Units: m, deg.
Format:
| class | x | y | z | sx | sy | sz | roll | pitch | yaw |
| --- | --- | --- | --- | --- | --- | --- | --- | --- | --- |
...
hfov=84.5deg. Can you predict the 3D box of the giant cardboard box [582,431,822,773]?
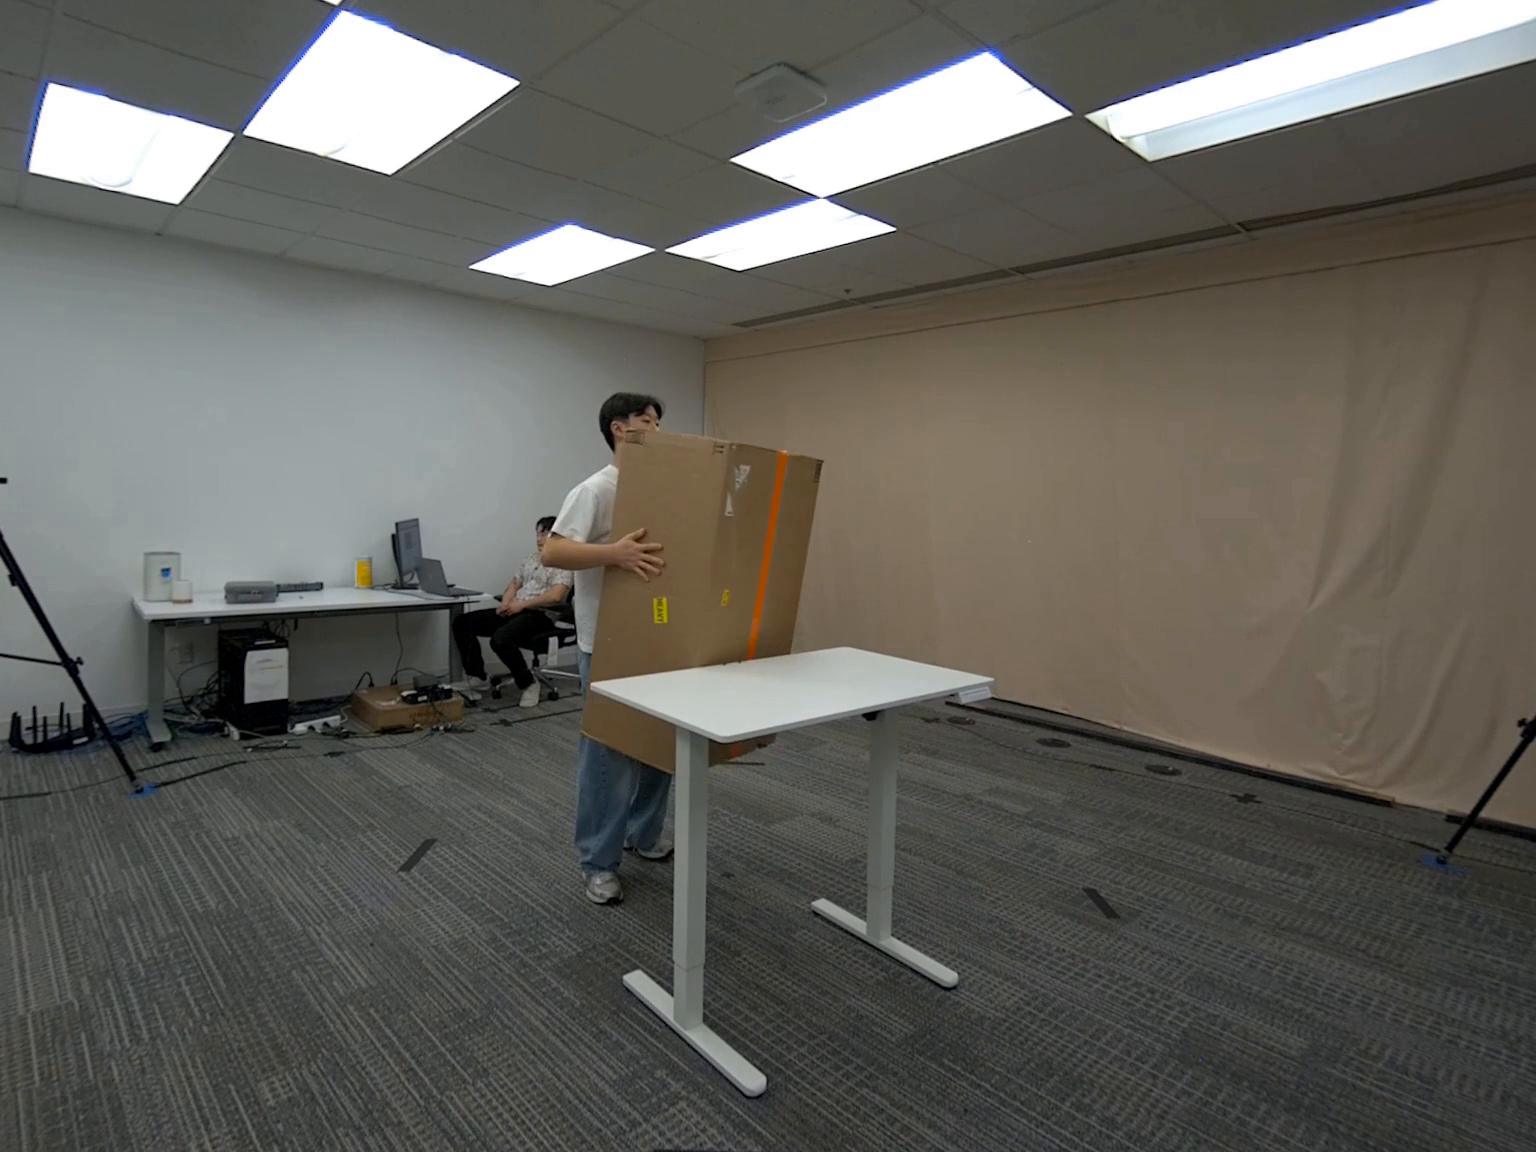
| class | x | y | z | sx | sy | sz | roll | pitch | yaw |
| --- | --- | --- | --- | --- | --- | --- | --- | --- | --- |
| giant cardboard box | -0.215 | 0.058 | 2.851 | 0.437 | 1.022 | 0.565 | 13 | 7 | 32 |
